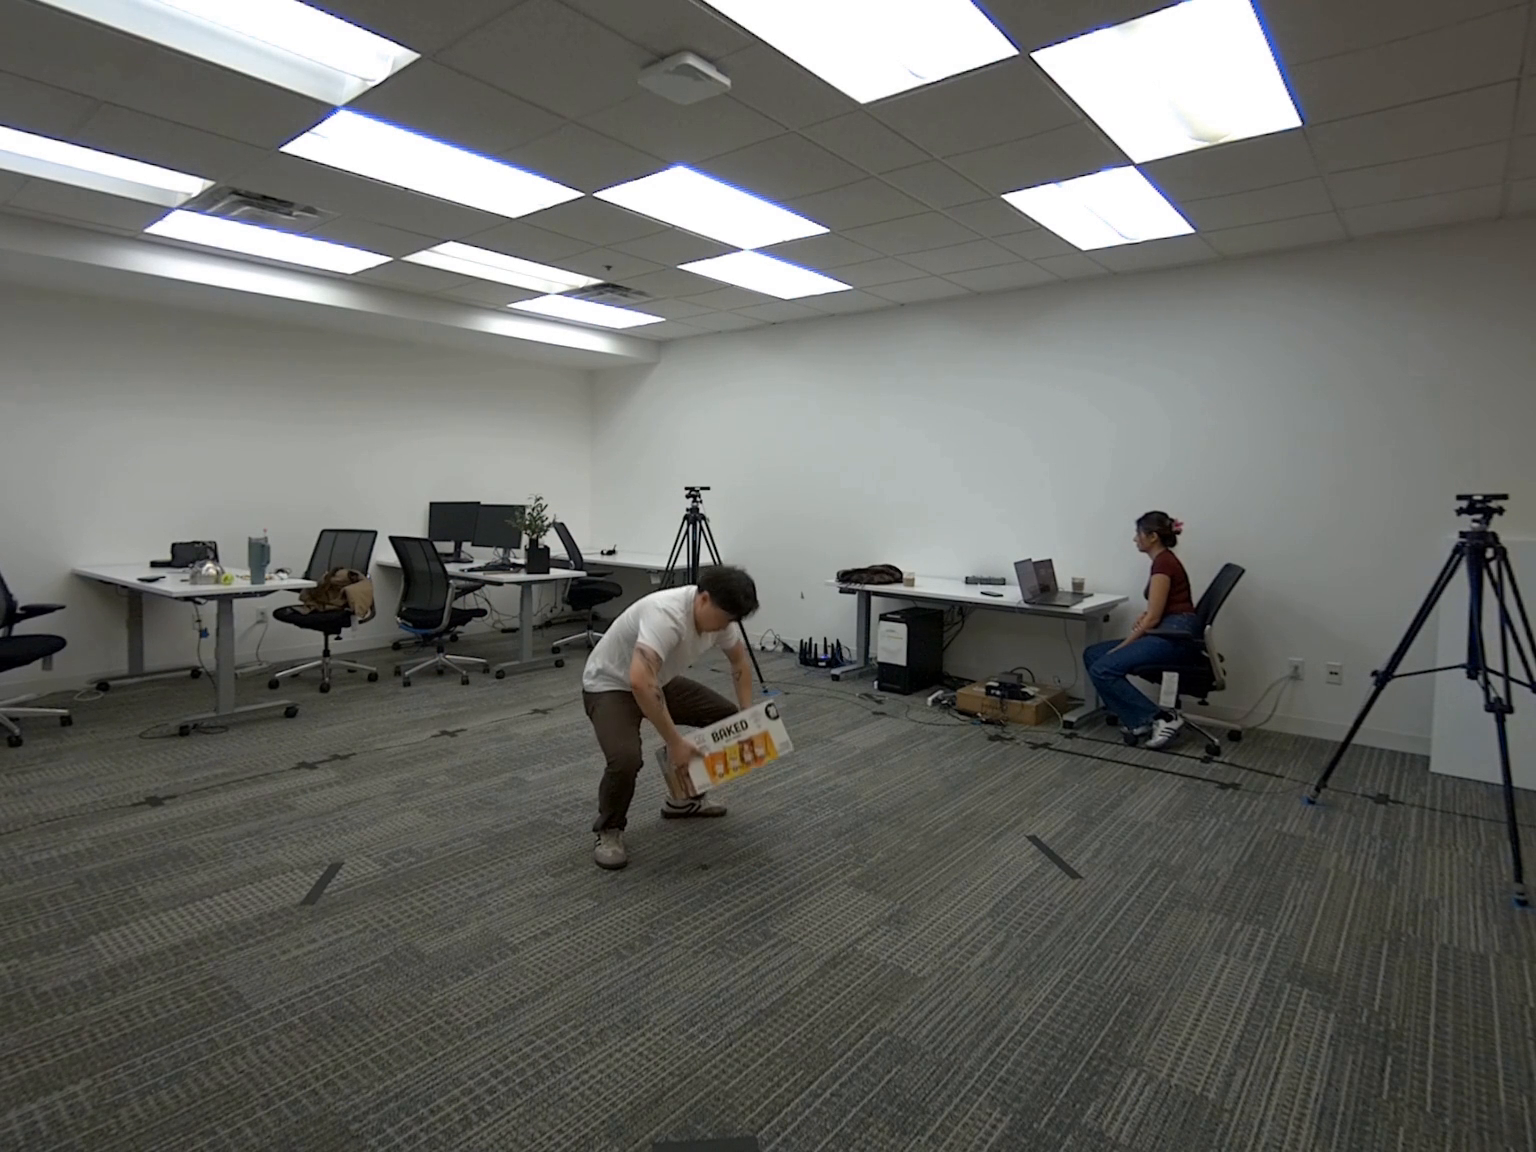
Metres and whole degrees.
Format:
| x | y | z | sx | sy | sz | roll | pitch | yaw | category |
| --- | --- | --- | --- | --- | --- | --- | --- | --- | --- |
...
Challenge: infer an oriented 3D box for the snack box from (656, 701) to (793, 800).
| x | y | z | sx | sy | sz | roll | pitch | yaw | category |
| --- | --- | --- | --- | --- | --- | --- | --- | --- | --- |
| -0.183 | 0.650 | 3.202 | 0.398 | 0.209 | 0.341 | -19 | -10 | -26 | snack box |
